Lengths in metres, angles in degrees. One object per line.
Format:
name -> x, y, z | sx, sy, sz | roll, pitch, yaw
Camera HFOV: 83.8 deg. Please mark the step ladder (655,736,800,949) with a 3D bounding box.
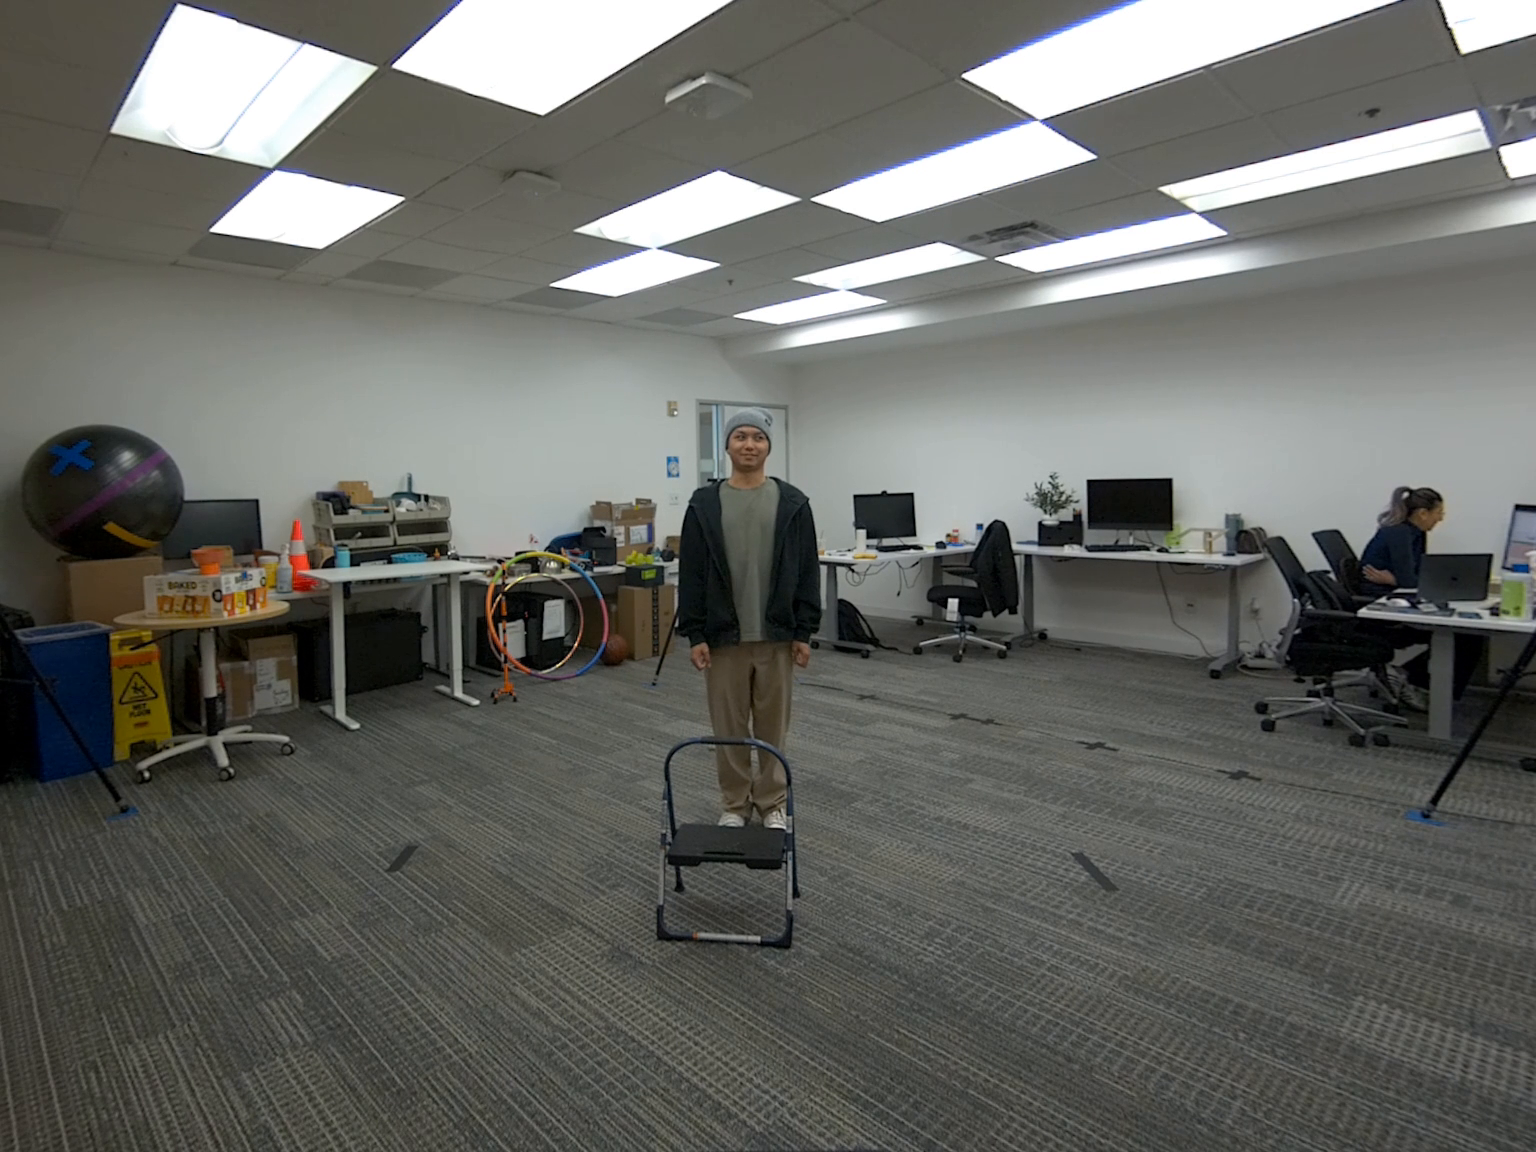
step ladder -> -0.126, 0.792, 2.717 | 0.434, 0.604, 0.348 | -1, 4, 7
